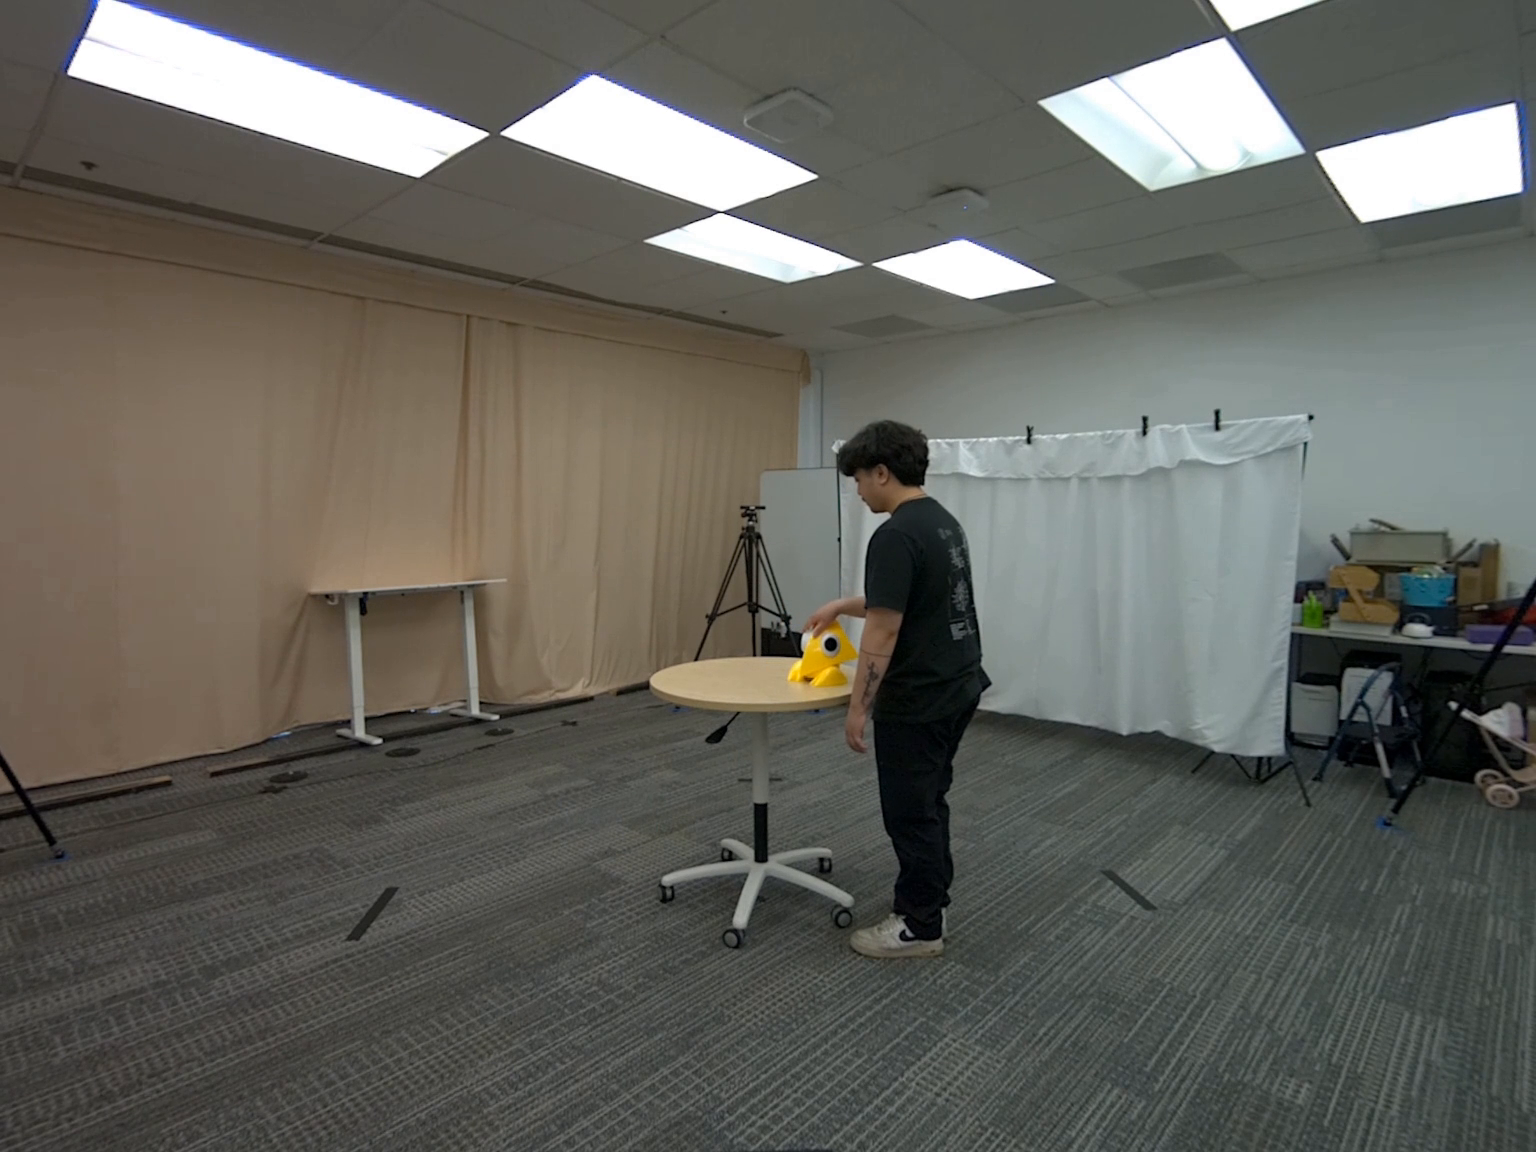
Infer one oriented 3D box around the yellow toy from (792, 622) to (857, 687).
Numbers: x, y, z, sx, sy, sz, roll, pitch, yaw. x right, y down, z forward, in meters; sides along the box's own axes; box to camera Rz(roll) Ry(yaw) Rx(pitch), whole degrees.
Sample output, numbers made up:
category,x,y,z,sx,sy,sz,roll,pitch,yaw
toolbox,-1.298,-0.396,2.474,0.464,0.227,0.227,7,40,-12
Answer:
category,x,y,z,sx,sy,sz,roll,pitch,yaw
yellow toy,0.177,0.246,2.884,0.187,0.230,0.211,-5,5,-39
